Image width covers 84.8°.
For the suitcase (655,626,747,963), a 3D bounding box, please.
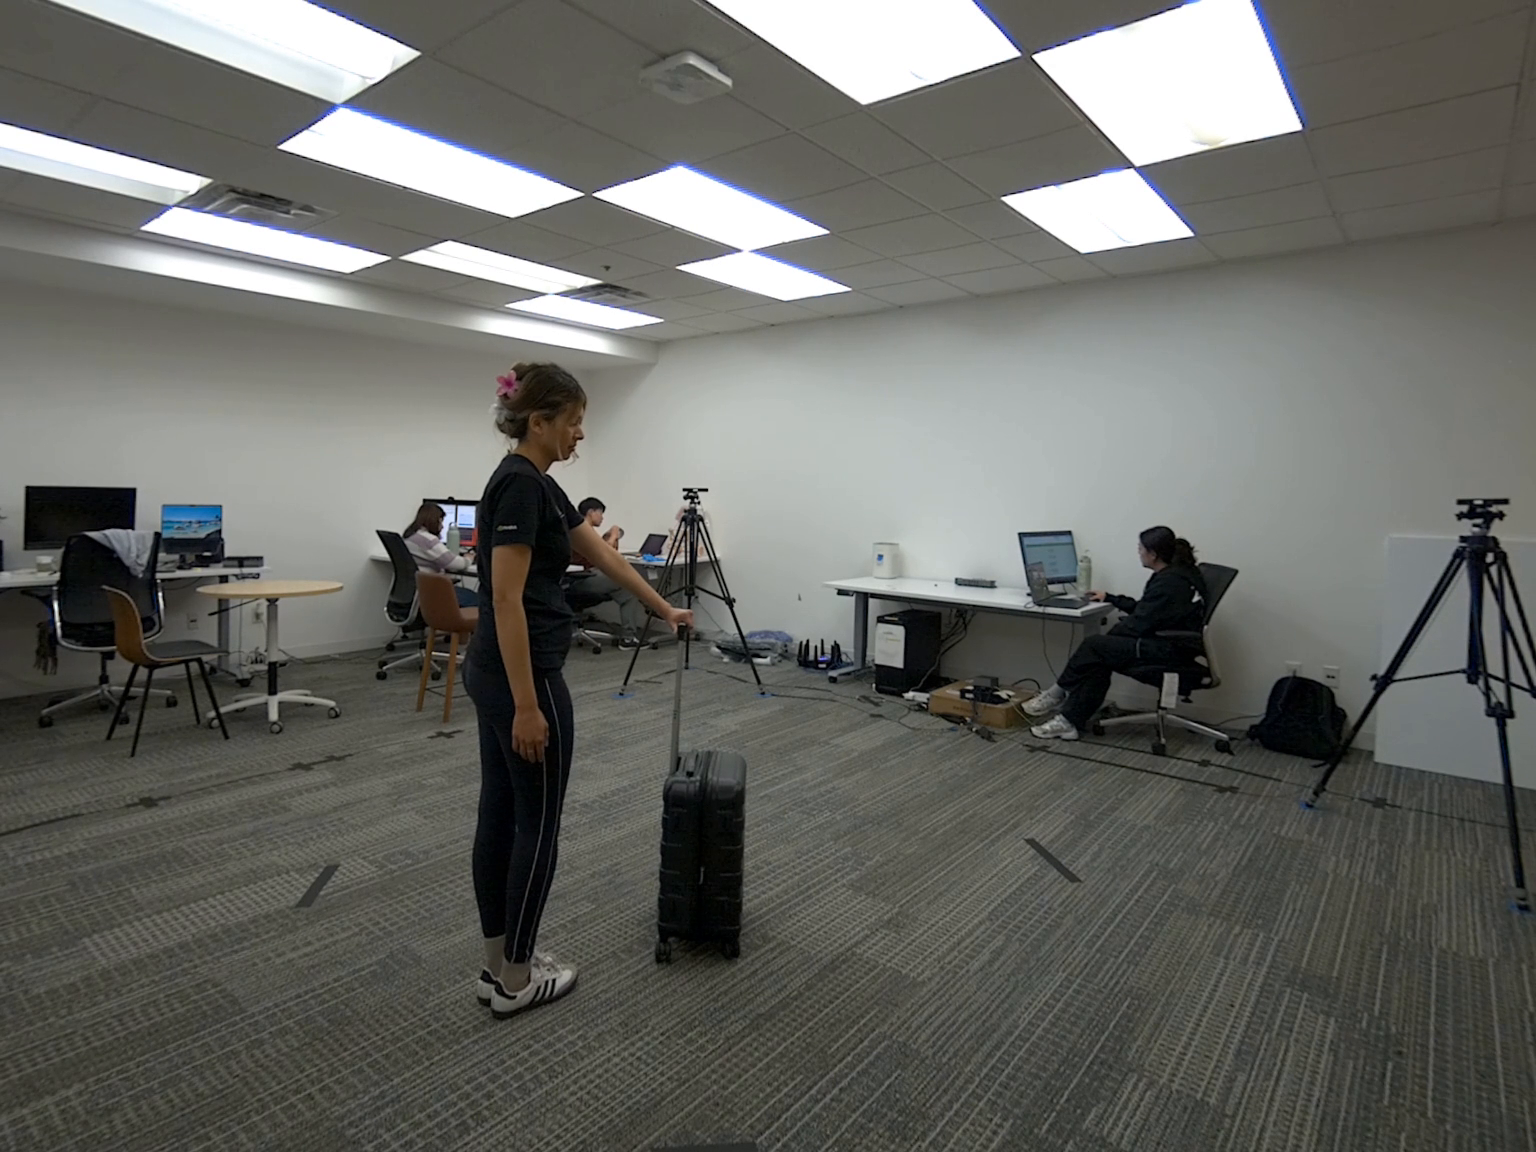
[{"bbox_3d":[-0.194,0.638,2.640,0.257,0.976,0.386,3,3,-3],"label":"suitcase"}]
